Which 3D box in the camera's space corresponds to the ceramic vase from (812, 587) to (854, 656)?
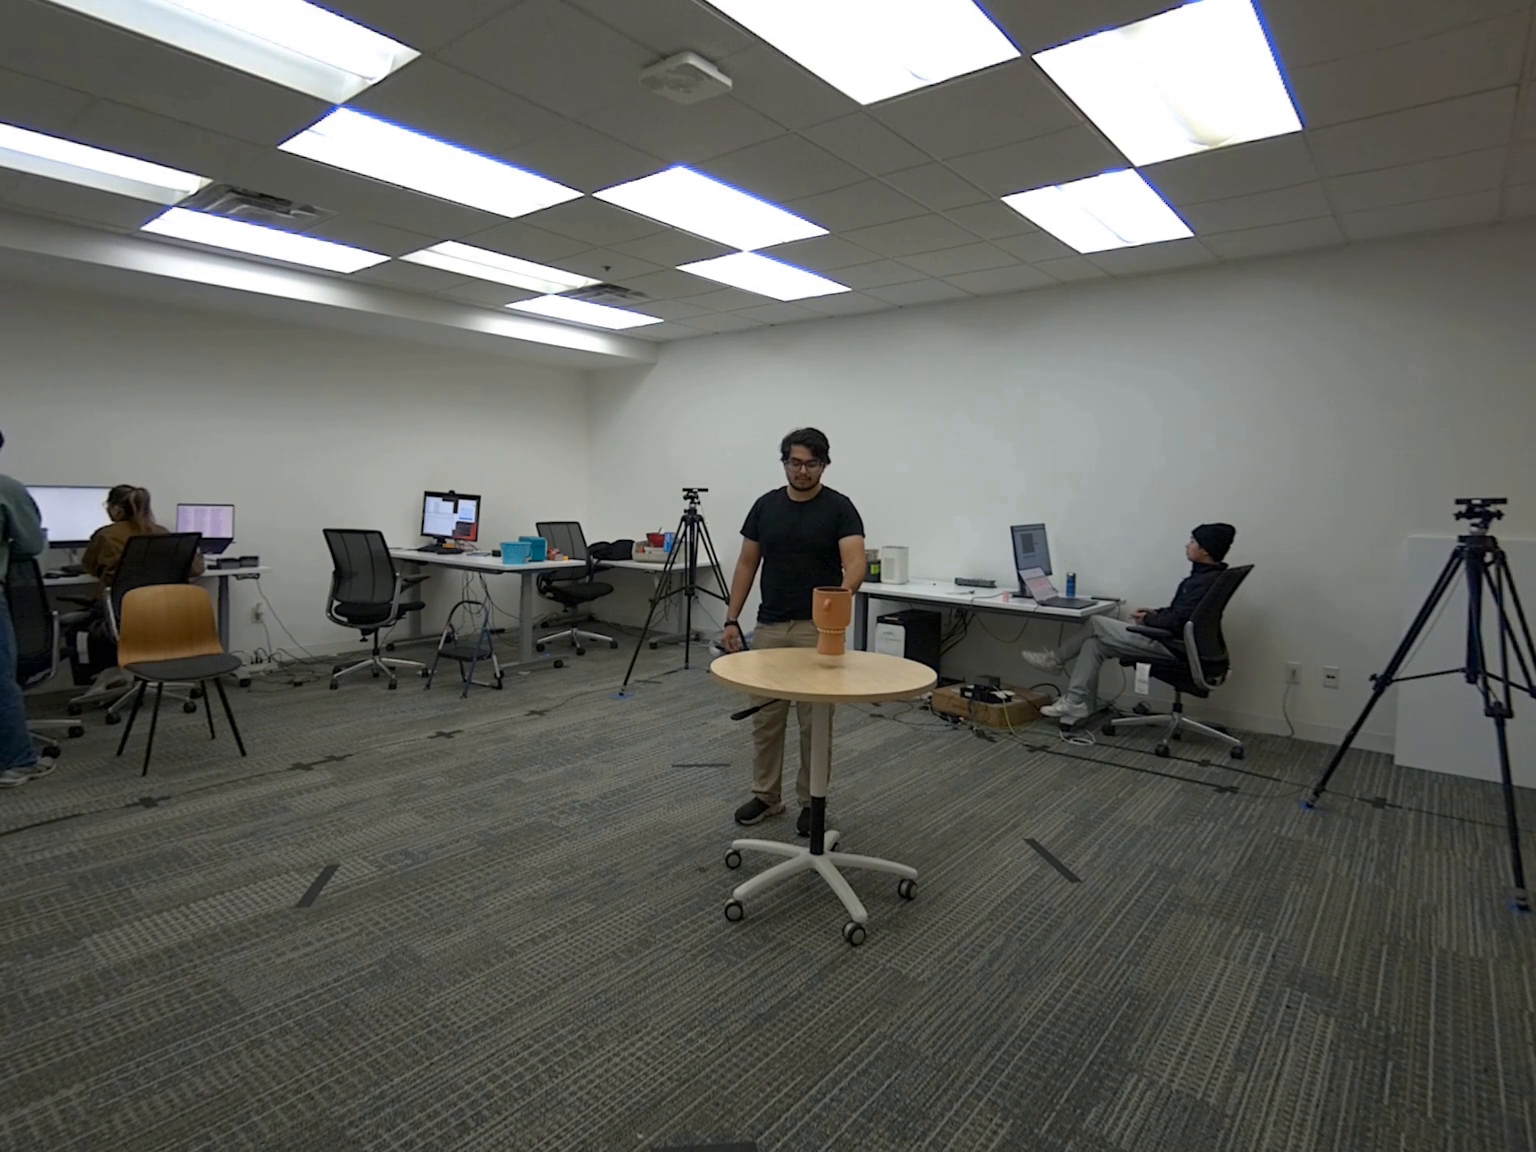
[{"bbox_3d":[0.215,0.151,2.943,0.154,0.219,0.139,-4,6,-34],"label":"ceramic vase"}]
